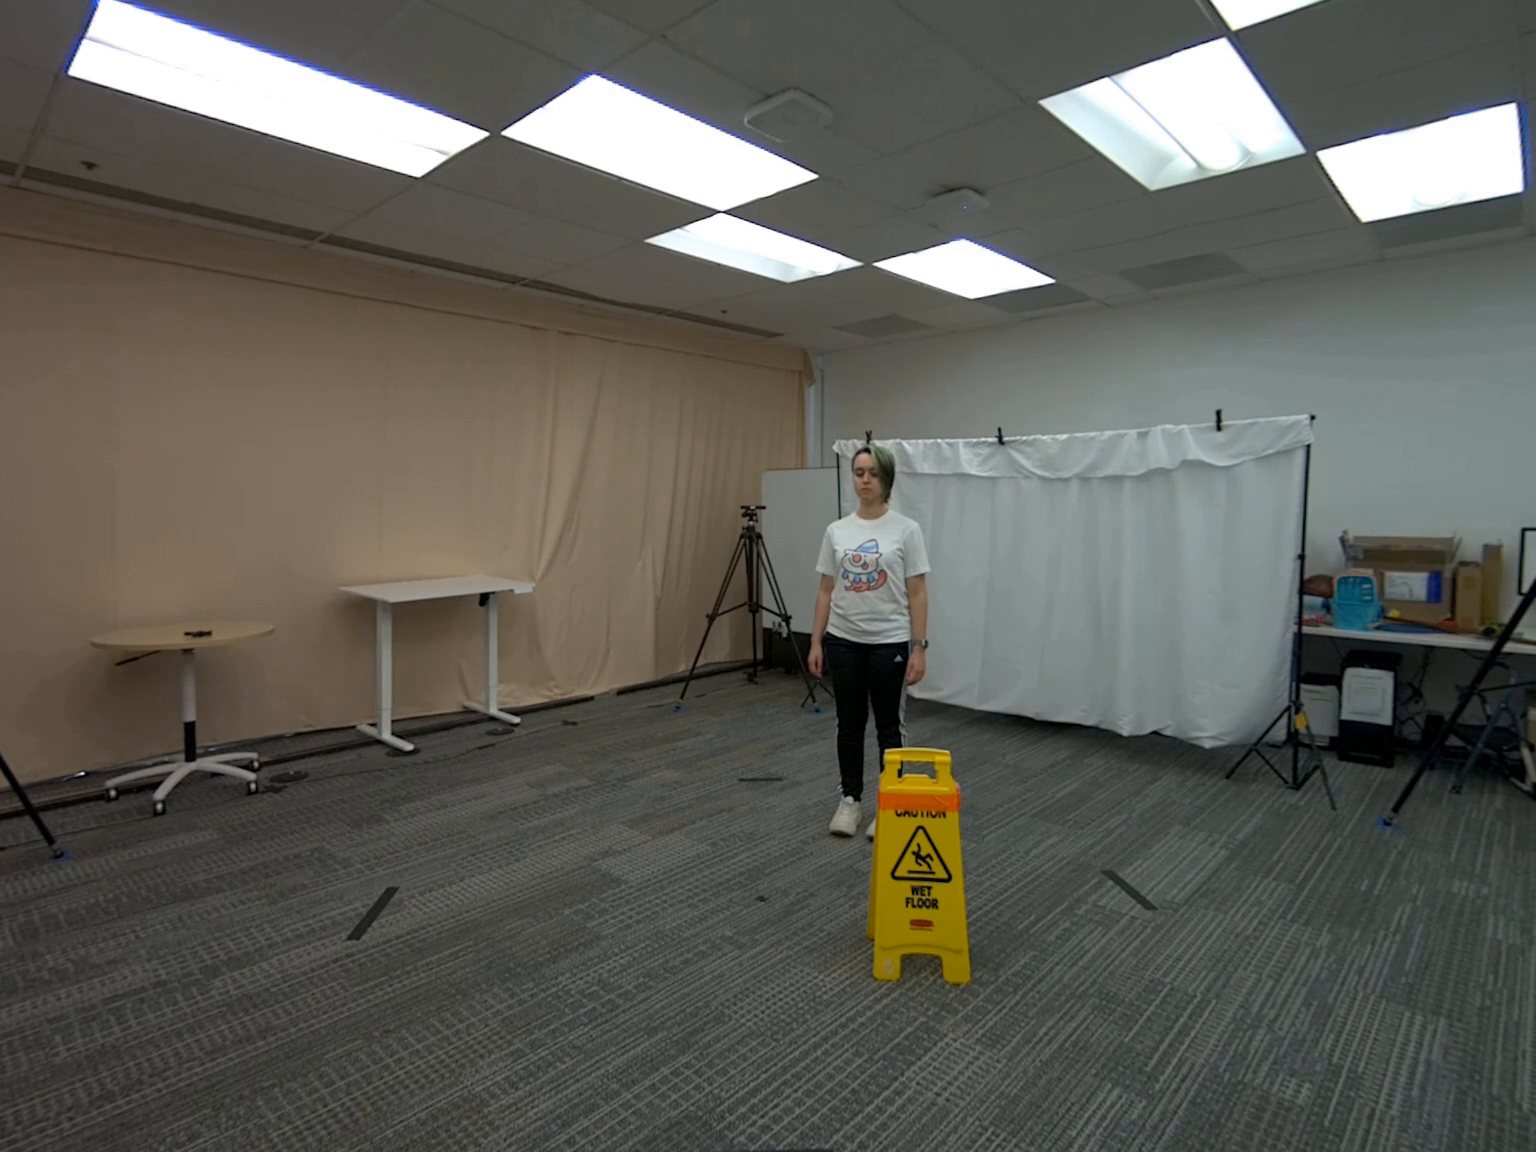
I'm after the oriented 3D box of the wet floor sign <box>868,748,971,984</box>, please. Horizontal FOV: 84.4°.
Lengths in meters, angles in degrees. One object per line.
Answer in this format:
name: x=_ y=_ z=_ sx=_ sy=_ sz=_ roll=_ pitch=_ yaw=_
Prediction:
wet floor sign: x=0.471 y=0.852 z=2.570 sx=0.283 sy=0.644 sz=0.289 roll=2 pitch=4 yaw=3
